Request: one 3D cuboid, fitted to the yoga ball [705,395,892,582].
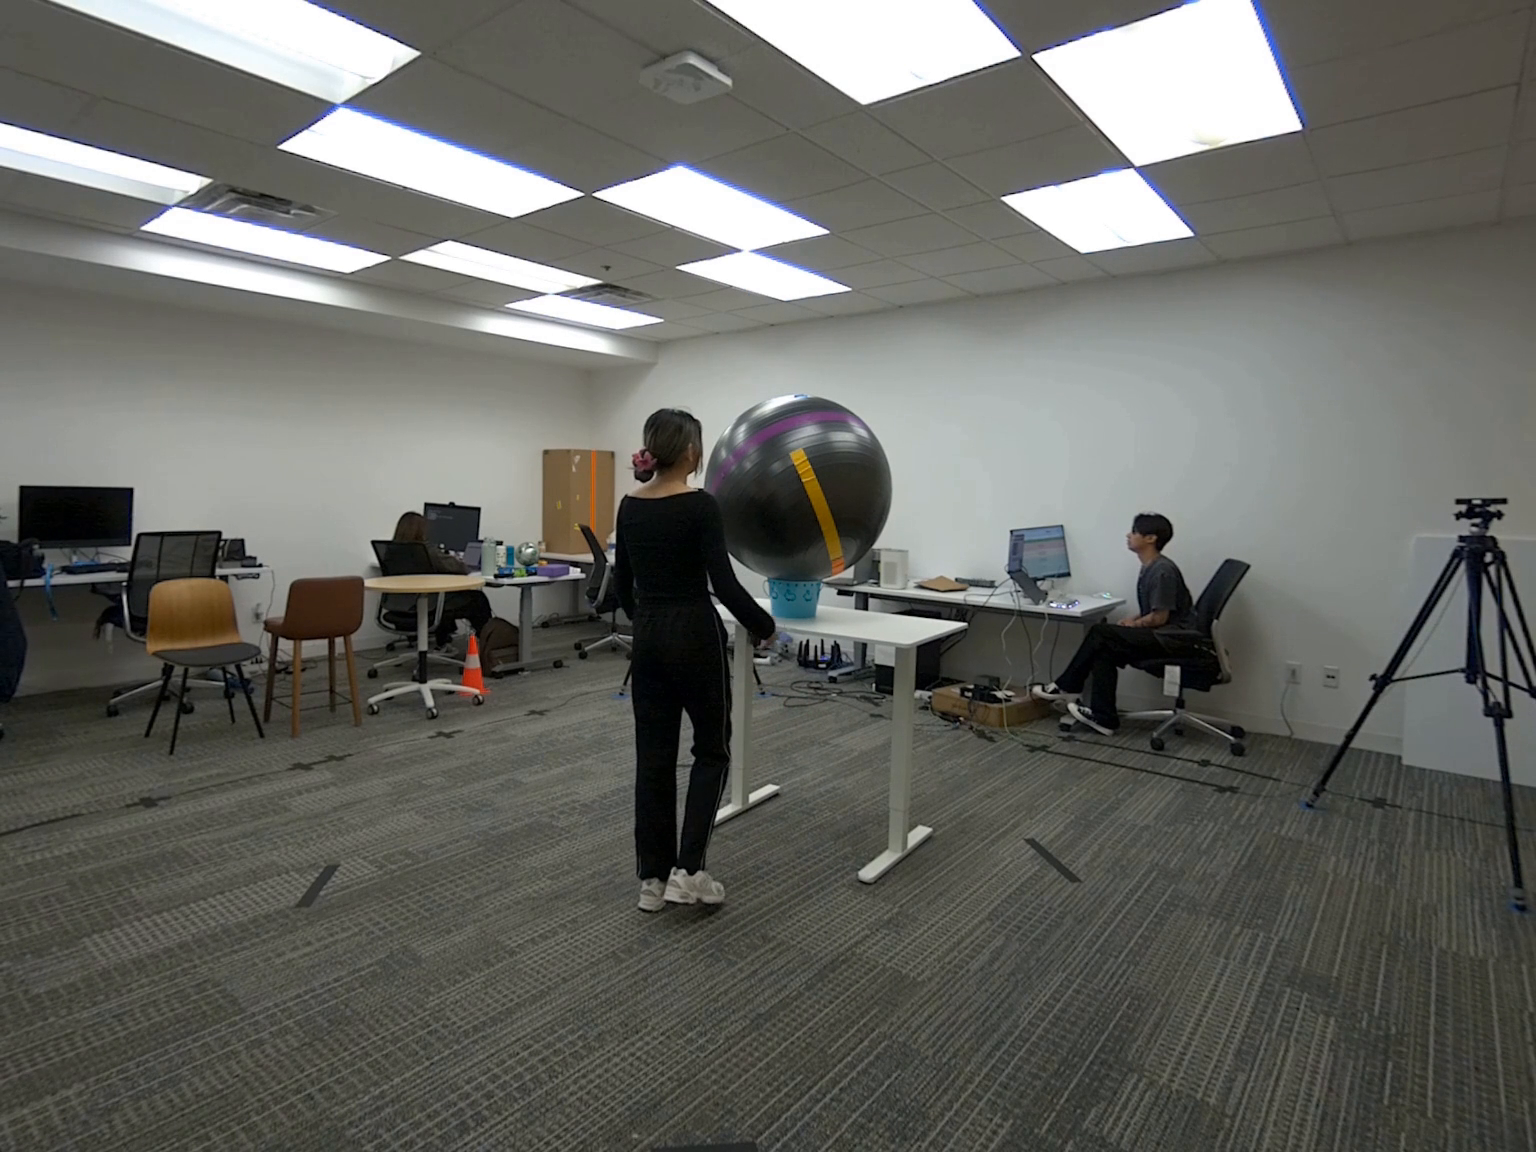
[{"bbox_3d":[0.110,-0.345,3.446,0.757,0.756,0.761,1,4,-2],"label":"yoga ball"}]
